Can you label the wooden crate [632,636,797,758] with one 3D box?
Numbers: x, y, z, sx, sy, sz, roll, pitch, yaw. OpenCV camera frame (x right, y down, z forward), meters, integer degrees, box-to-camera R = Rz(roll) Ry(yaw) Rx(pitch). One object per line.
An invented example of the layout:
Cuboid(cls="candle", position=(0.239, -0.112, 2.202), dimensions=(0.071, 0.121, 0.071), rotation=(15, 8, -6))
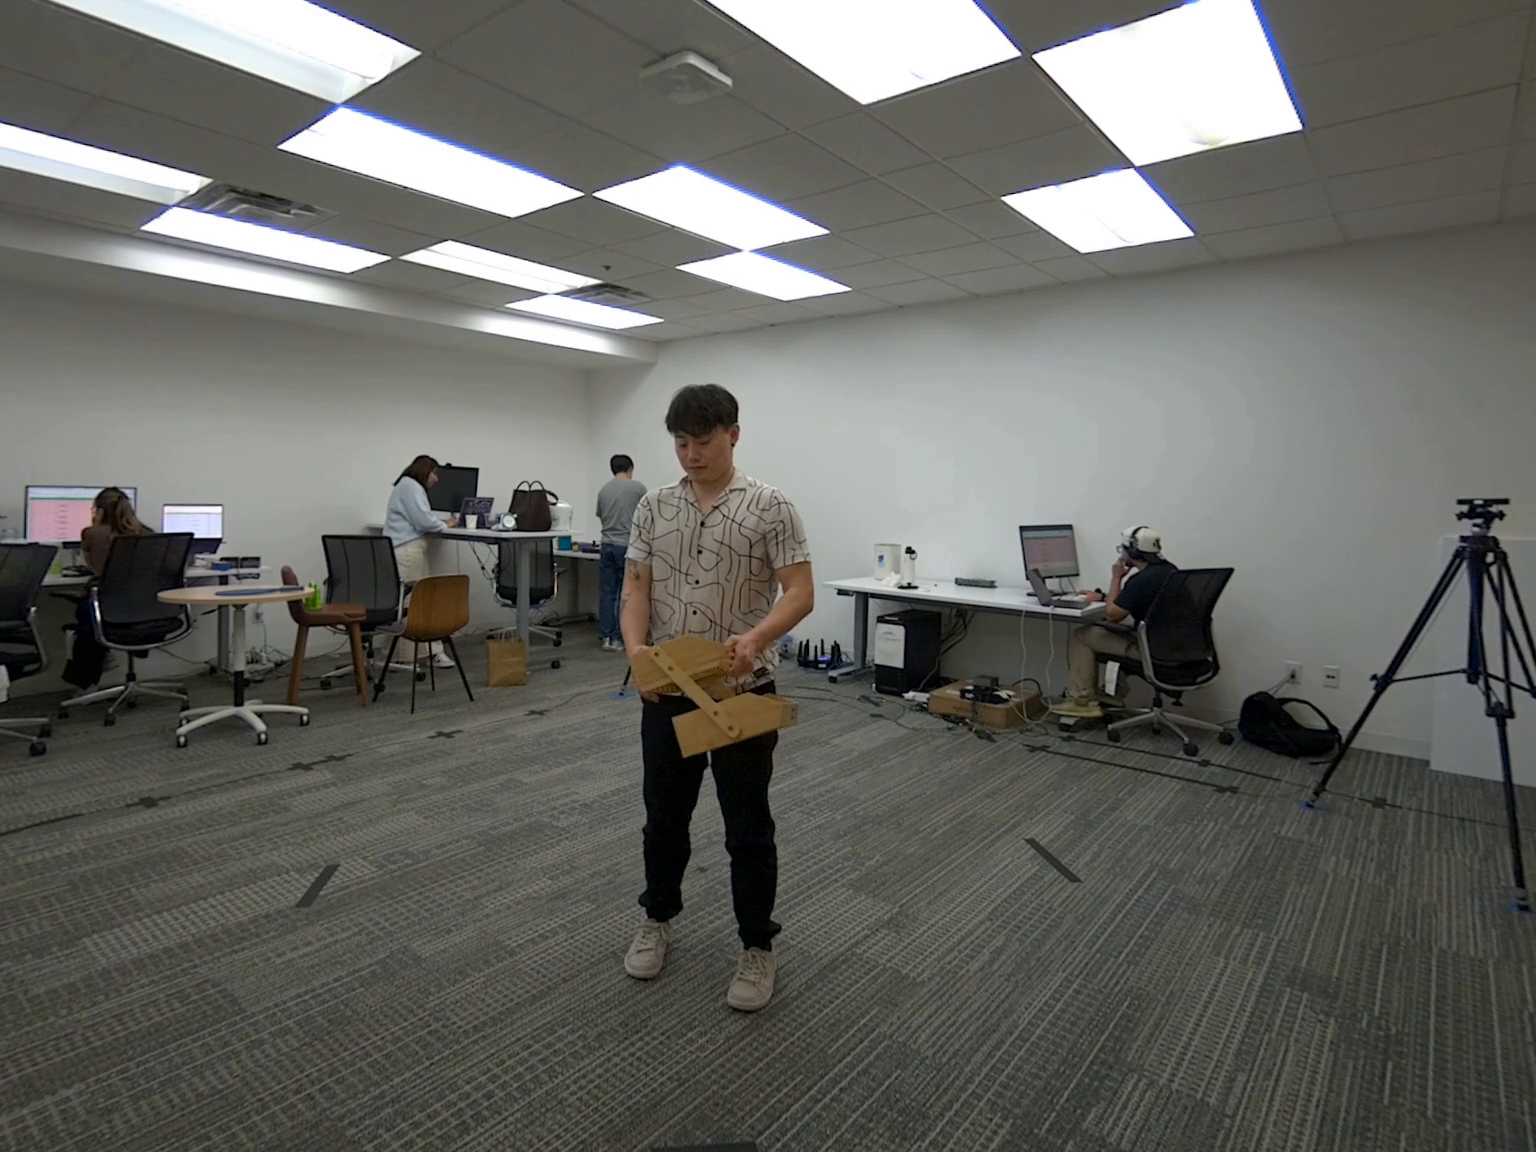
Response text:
Cuboid(cls="wooden crate", position=(-0.116, 0.272, 2.069), dimensions=(0.303, 0.277, 0.318), rotation=(-18, -11, 5))
